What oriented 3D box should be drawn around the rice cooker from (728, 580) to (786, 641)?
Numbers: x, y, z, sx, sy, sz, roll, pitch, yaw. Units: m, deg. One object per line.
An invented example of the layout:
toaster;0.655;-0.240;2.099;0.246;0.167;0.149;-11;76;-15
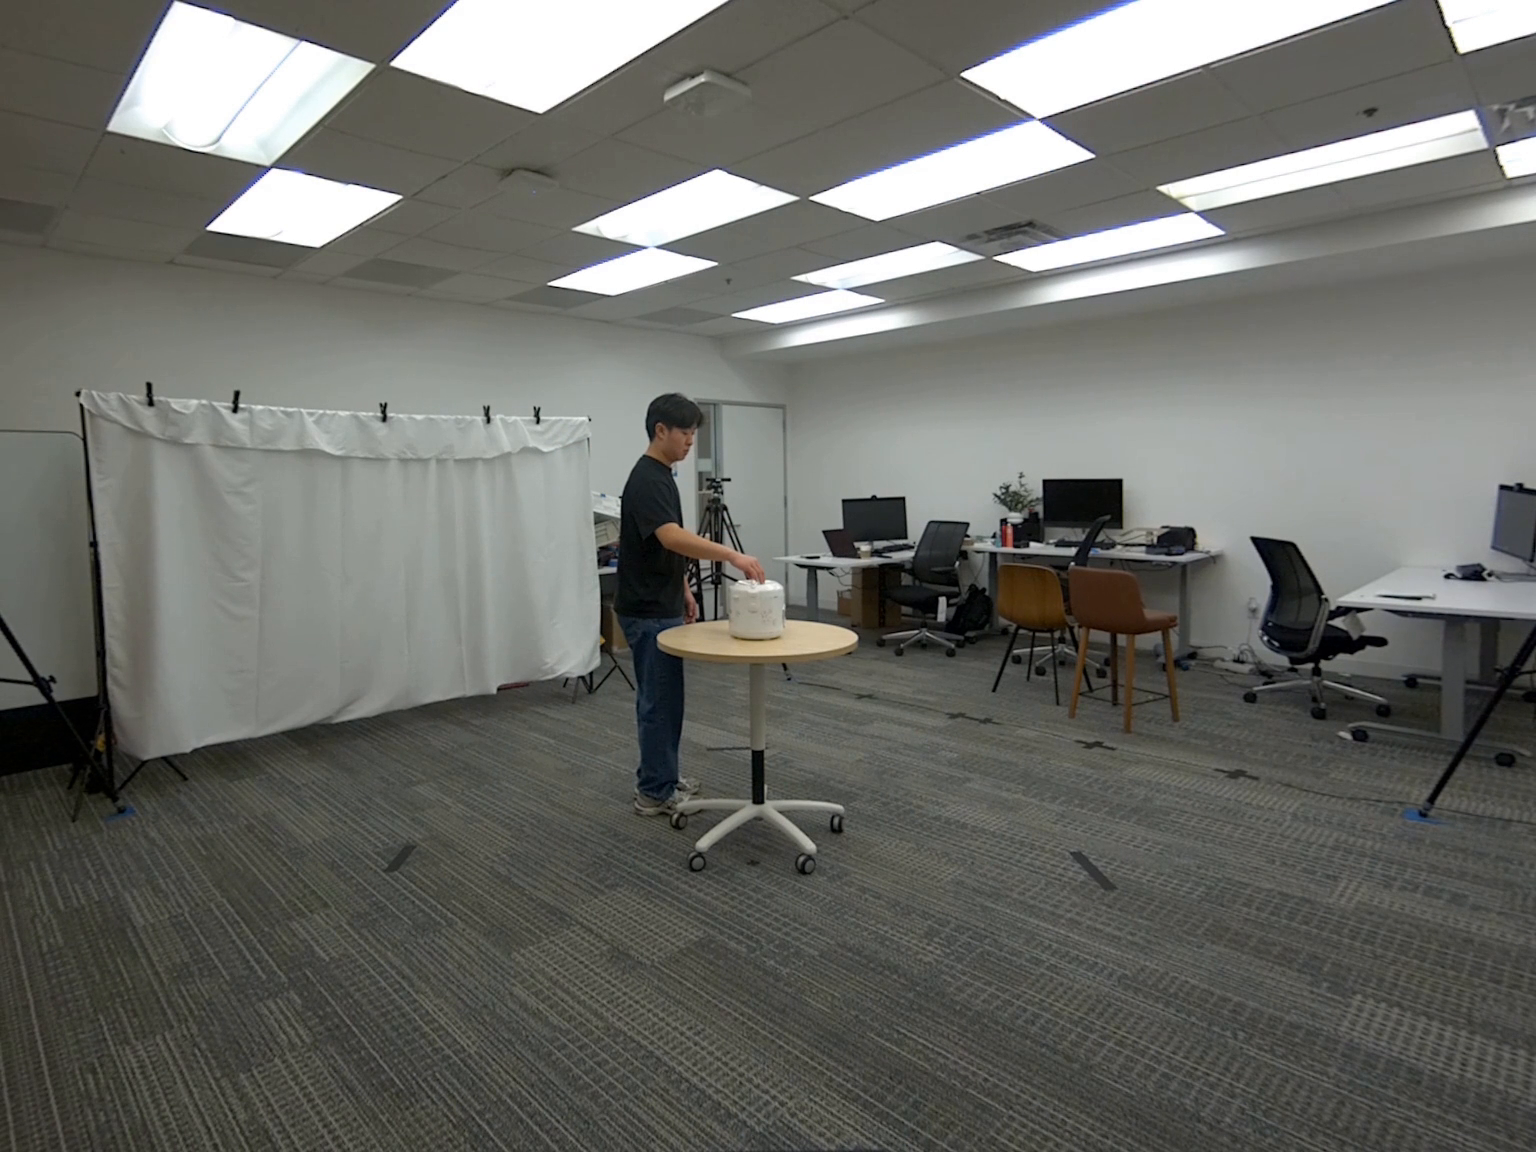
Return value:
rice cooker;-0.044;0.115;3.243;0.219;0.232;0.220;-1;4;7
